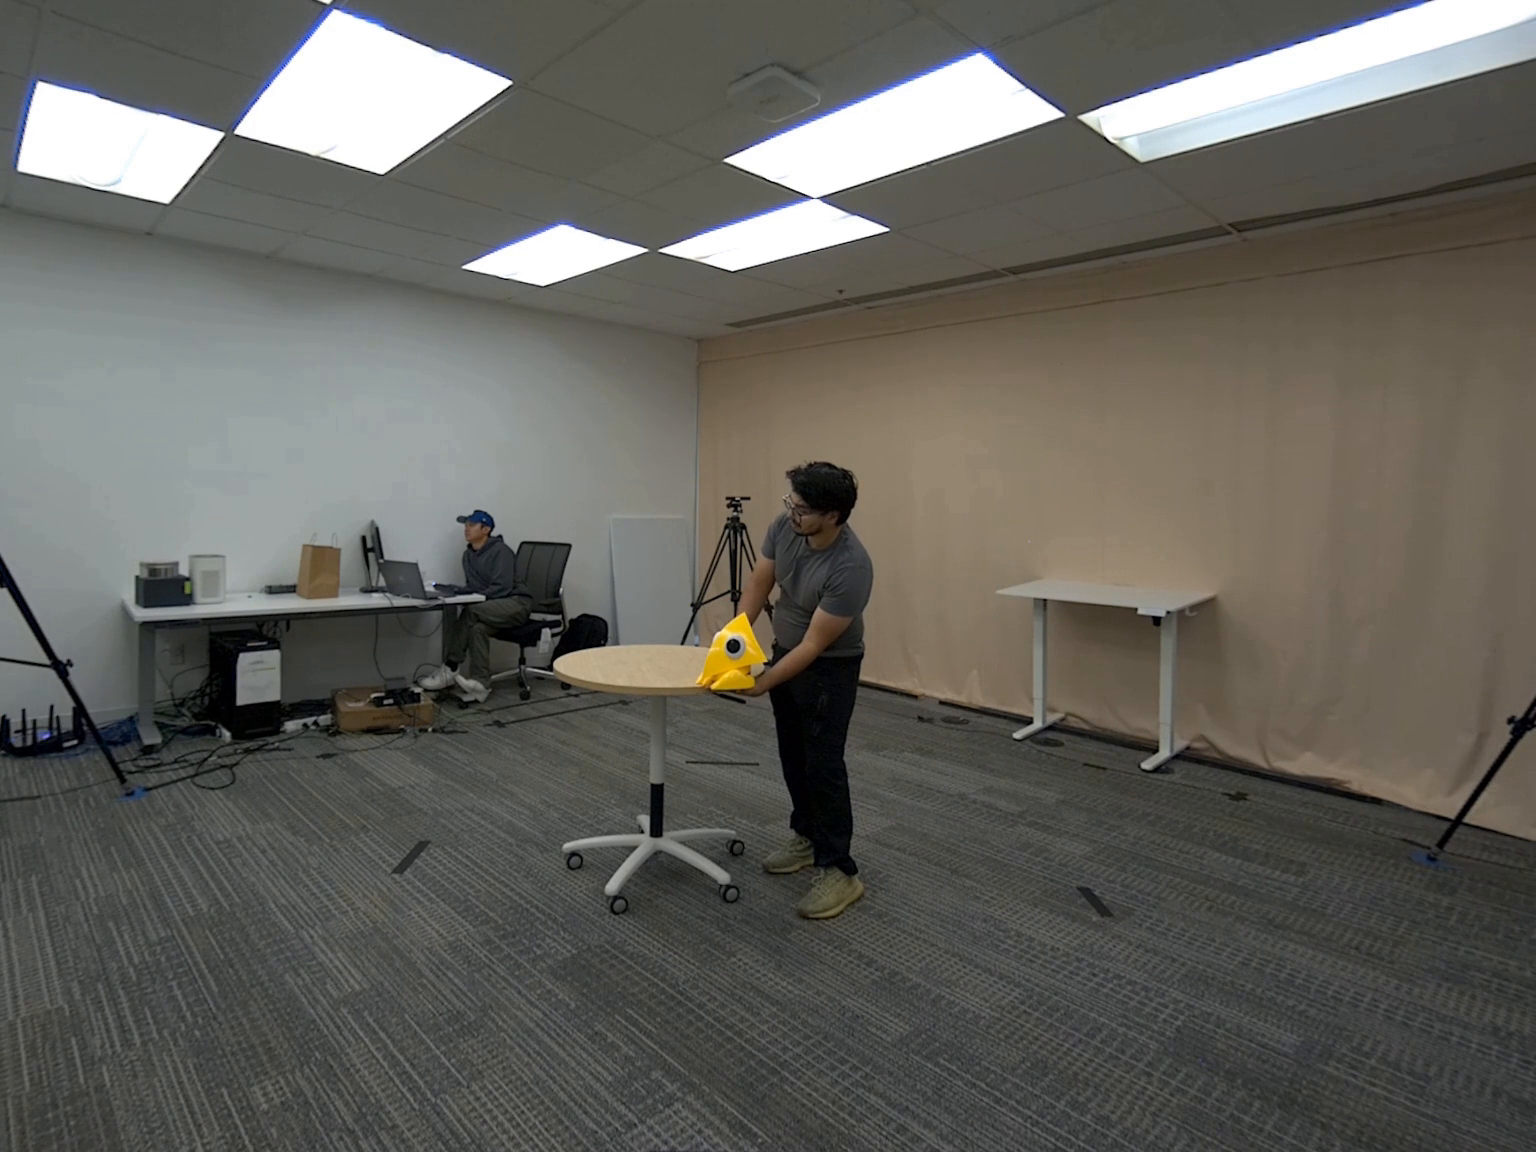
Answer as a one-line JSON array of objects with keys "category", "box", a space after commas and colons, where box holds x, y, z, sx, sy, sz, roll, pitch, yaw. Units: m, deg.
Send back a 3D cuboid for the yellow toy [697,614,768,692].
[{"category": "yellow toy", "box": [-0.133, 0.240, 2.732, 0.189, 0.230, 0.209, -1, 1, -28]}]
